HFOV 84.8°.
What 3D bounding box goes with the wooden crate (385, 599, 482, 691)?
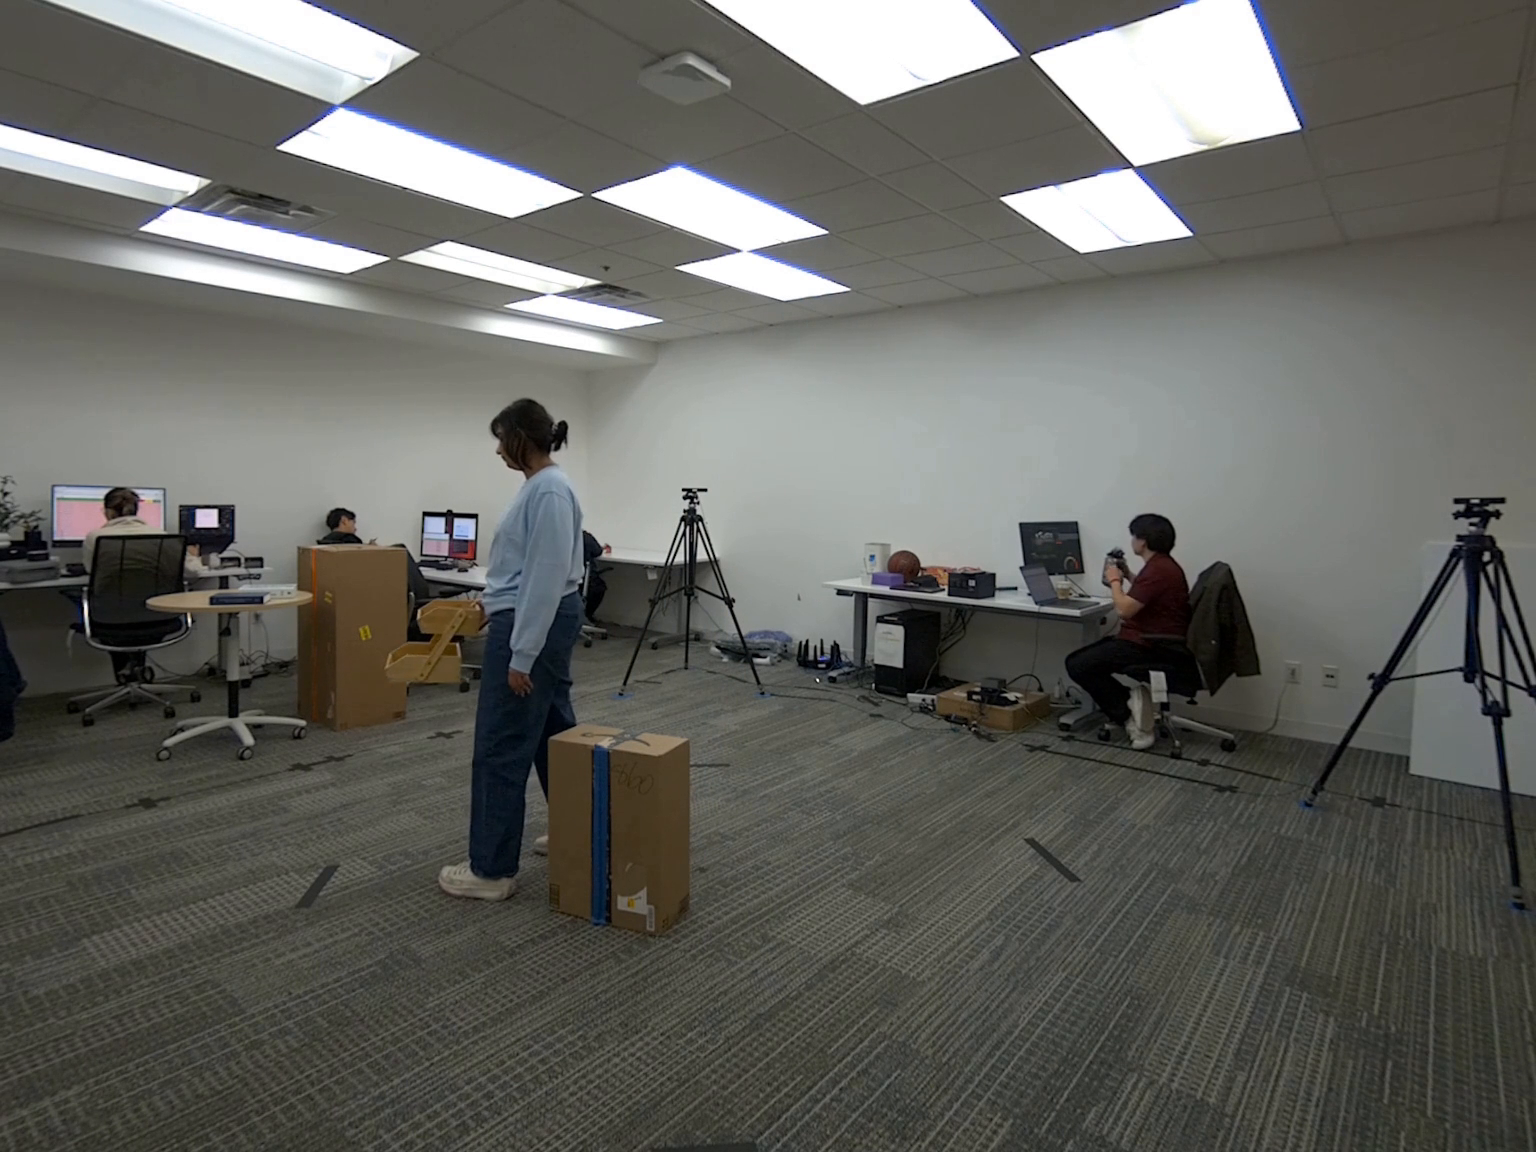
[{"bbox_3d":[-1.234,0.221,3.104,0.295,0.273,0.332,4,2,-21],"label":"wooden crate"}]
